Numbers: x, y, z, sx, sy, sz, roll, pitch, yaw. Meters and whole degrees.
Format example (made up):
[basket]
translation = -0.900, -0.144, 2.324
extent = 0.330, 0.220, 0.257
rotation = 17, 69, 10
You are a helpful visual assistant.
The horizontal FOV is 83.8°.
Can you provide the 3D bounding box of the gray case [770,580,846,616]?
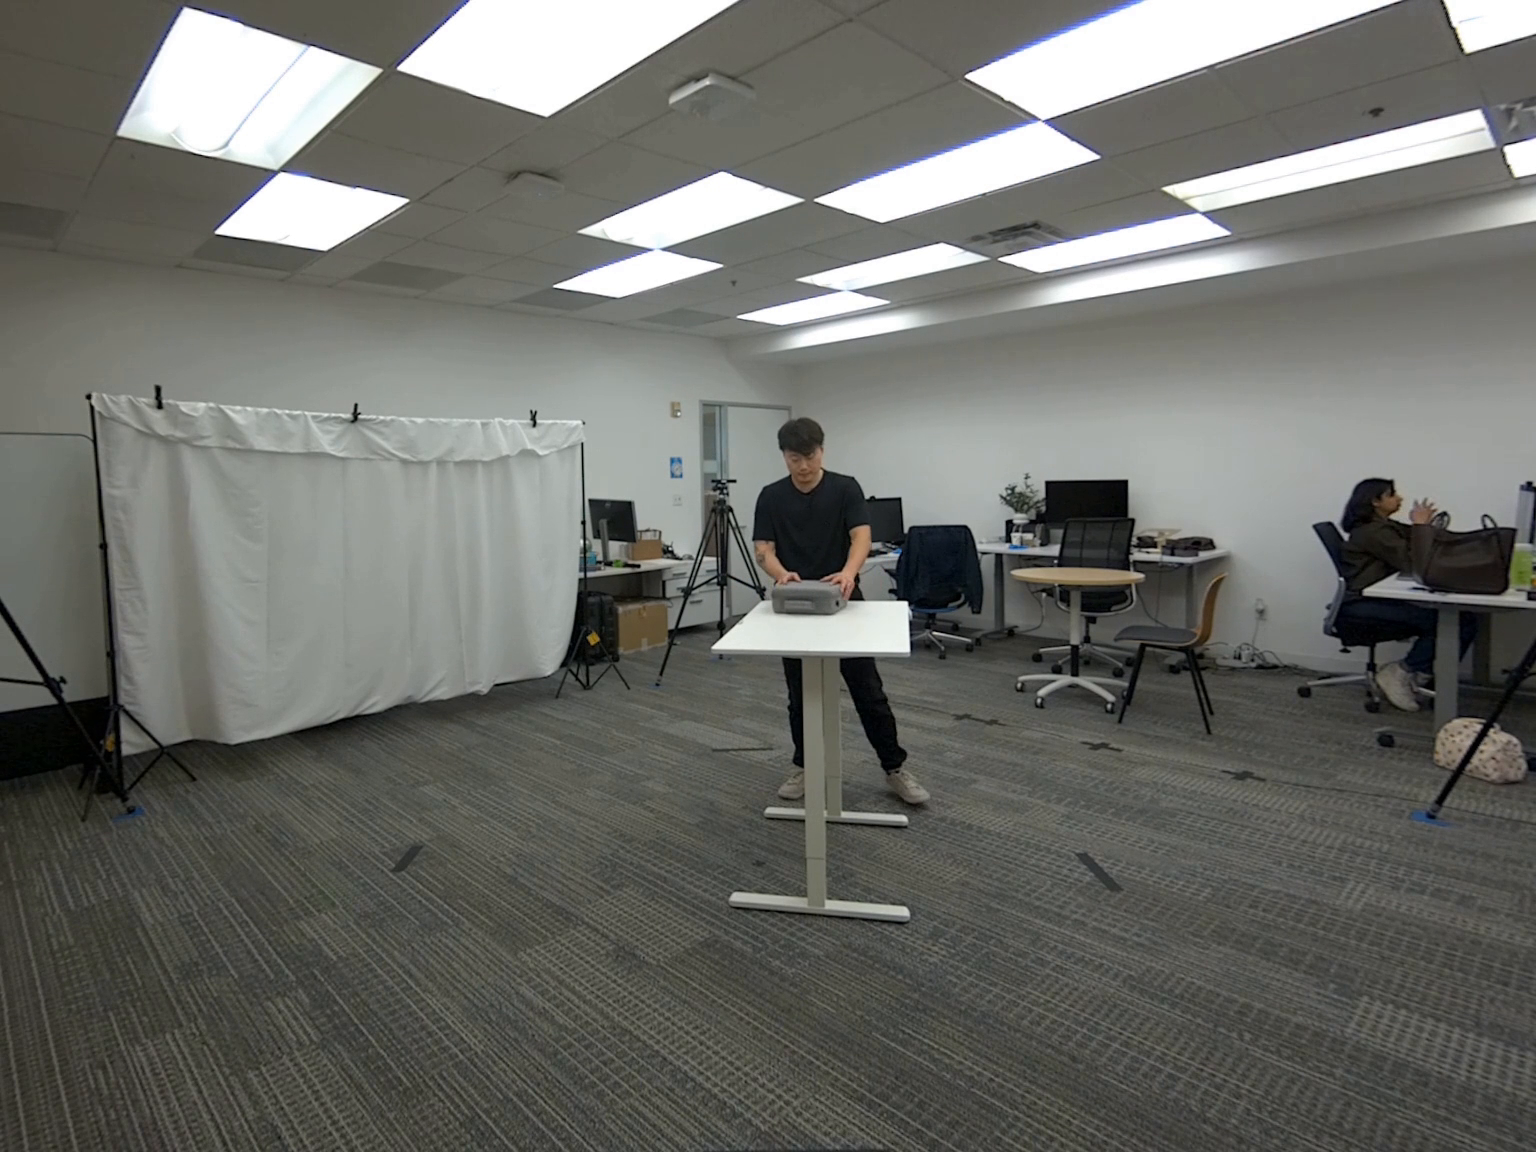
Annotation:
[gray case]
translation = 0.168, 0.088, 3.335
extent = 0.262, 0.104, 0.256
rotation = 2, 6, 21
